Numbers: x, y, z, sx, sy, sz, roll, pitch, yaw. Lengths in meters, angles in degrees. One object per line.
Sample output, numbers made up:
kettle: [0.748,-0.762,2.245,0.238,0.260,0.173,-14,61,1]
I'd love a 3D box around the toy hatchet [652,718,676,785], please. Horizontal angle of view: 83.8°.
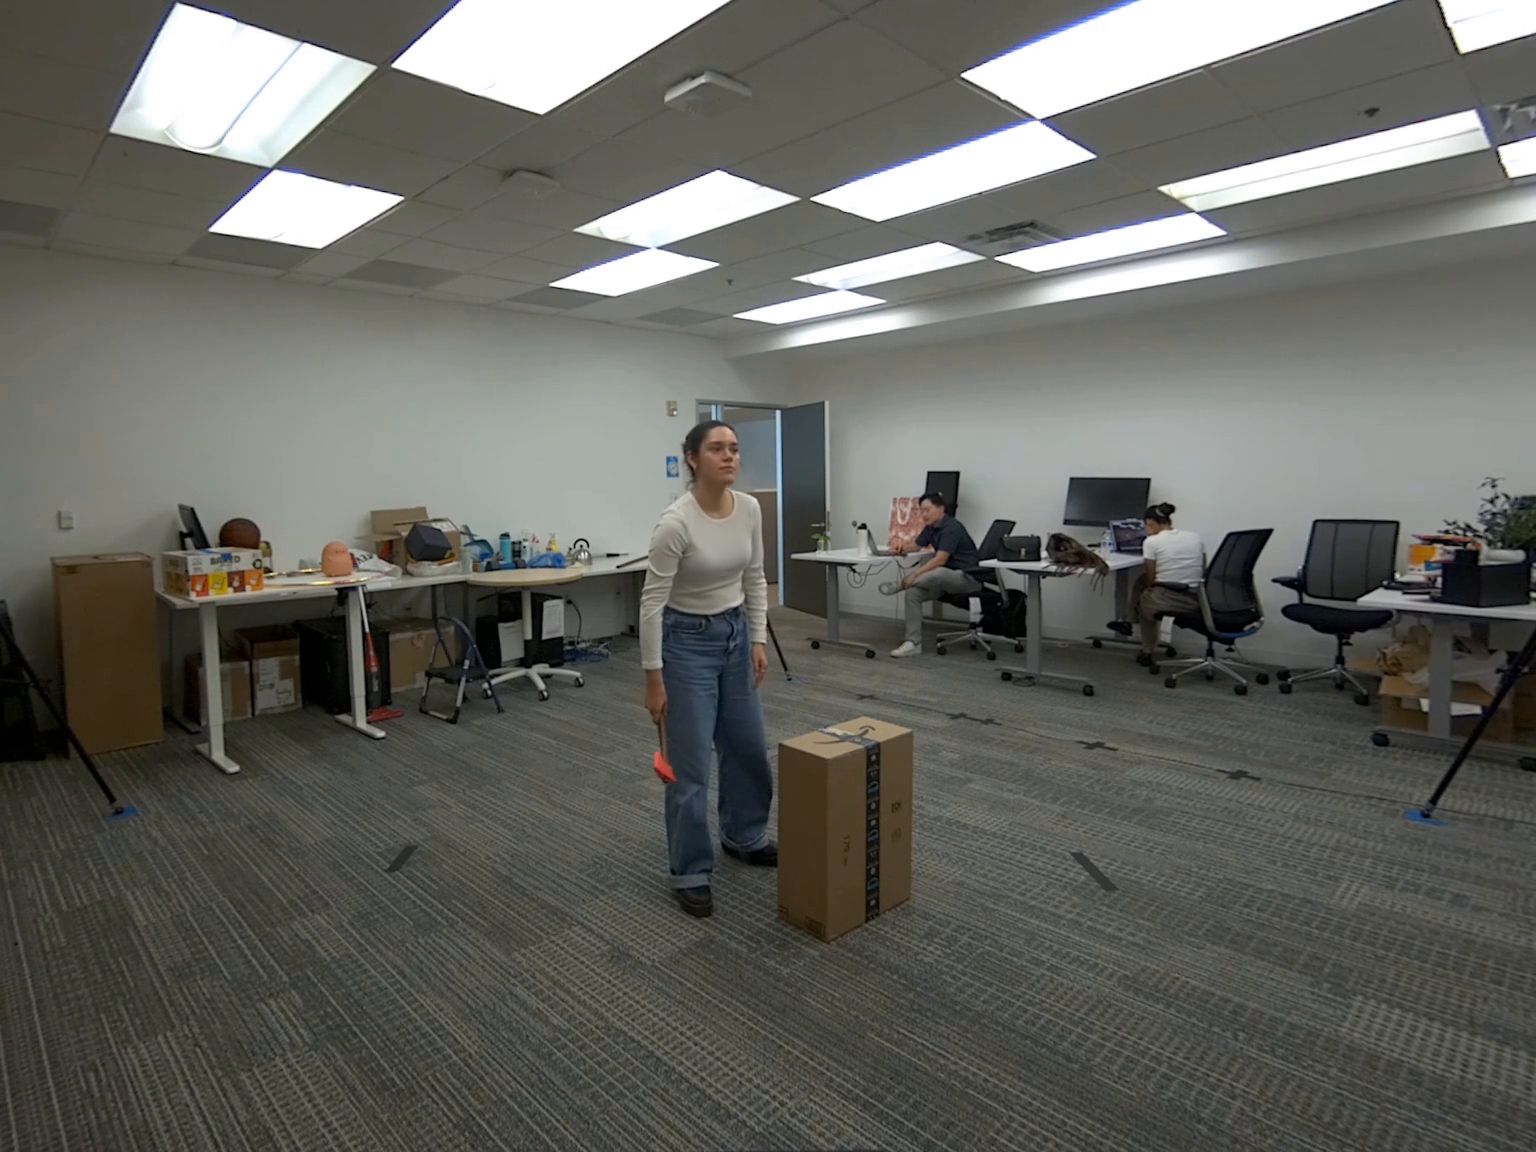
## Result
toy hatchet: [-0.325,0.511,2.632,0.030,0.277,0.127,-25,-24,16]
